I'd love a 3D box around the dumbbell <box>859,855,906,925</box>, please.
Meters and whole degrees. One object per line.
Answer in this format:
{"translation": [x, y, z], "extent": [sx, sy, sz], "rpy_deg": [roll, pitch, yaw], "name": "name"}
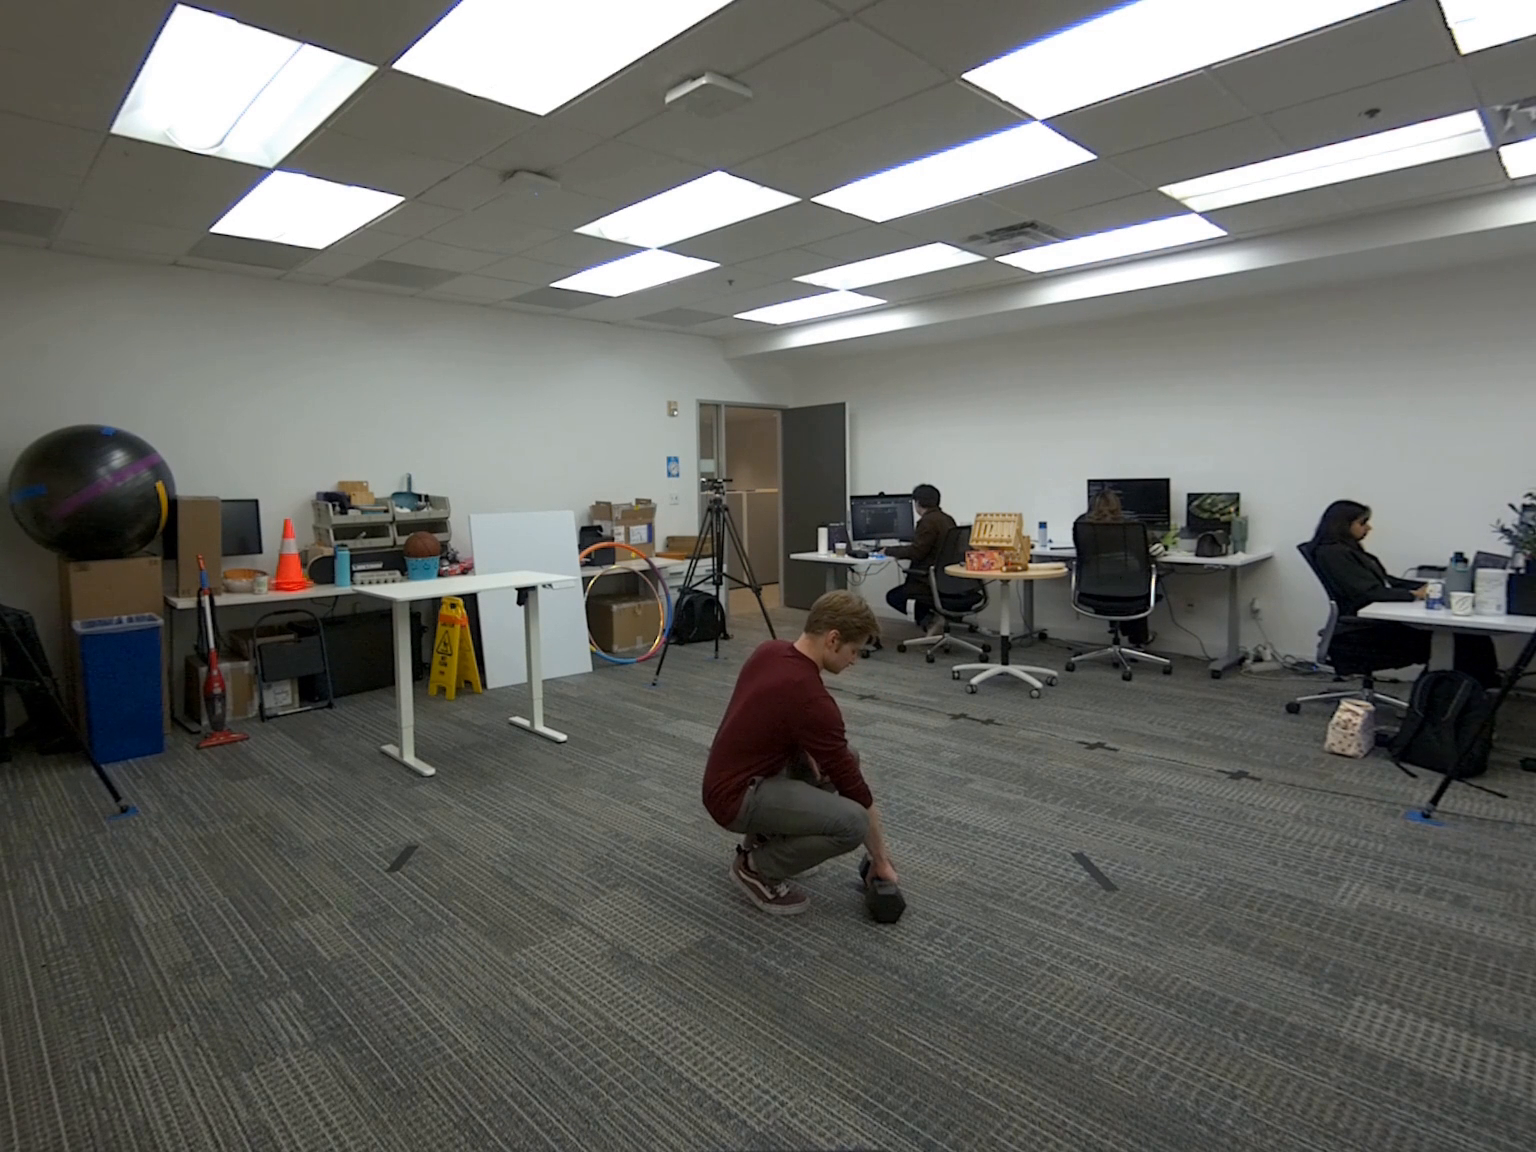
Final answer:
{"translation": [0.371, 1.011, 2.799], "extent": [0.109, 0.122, 0.294], "rpy_deg": [-33, 5, 4], "name": "dumbbell"}
